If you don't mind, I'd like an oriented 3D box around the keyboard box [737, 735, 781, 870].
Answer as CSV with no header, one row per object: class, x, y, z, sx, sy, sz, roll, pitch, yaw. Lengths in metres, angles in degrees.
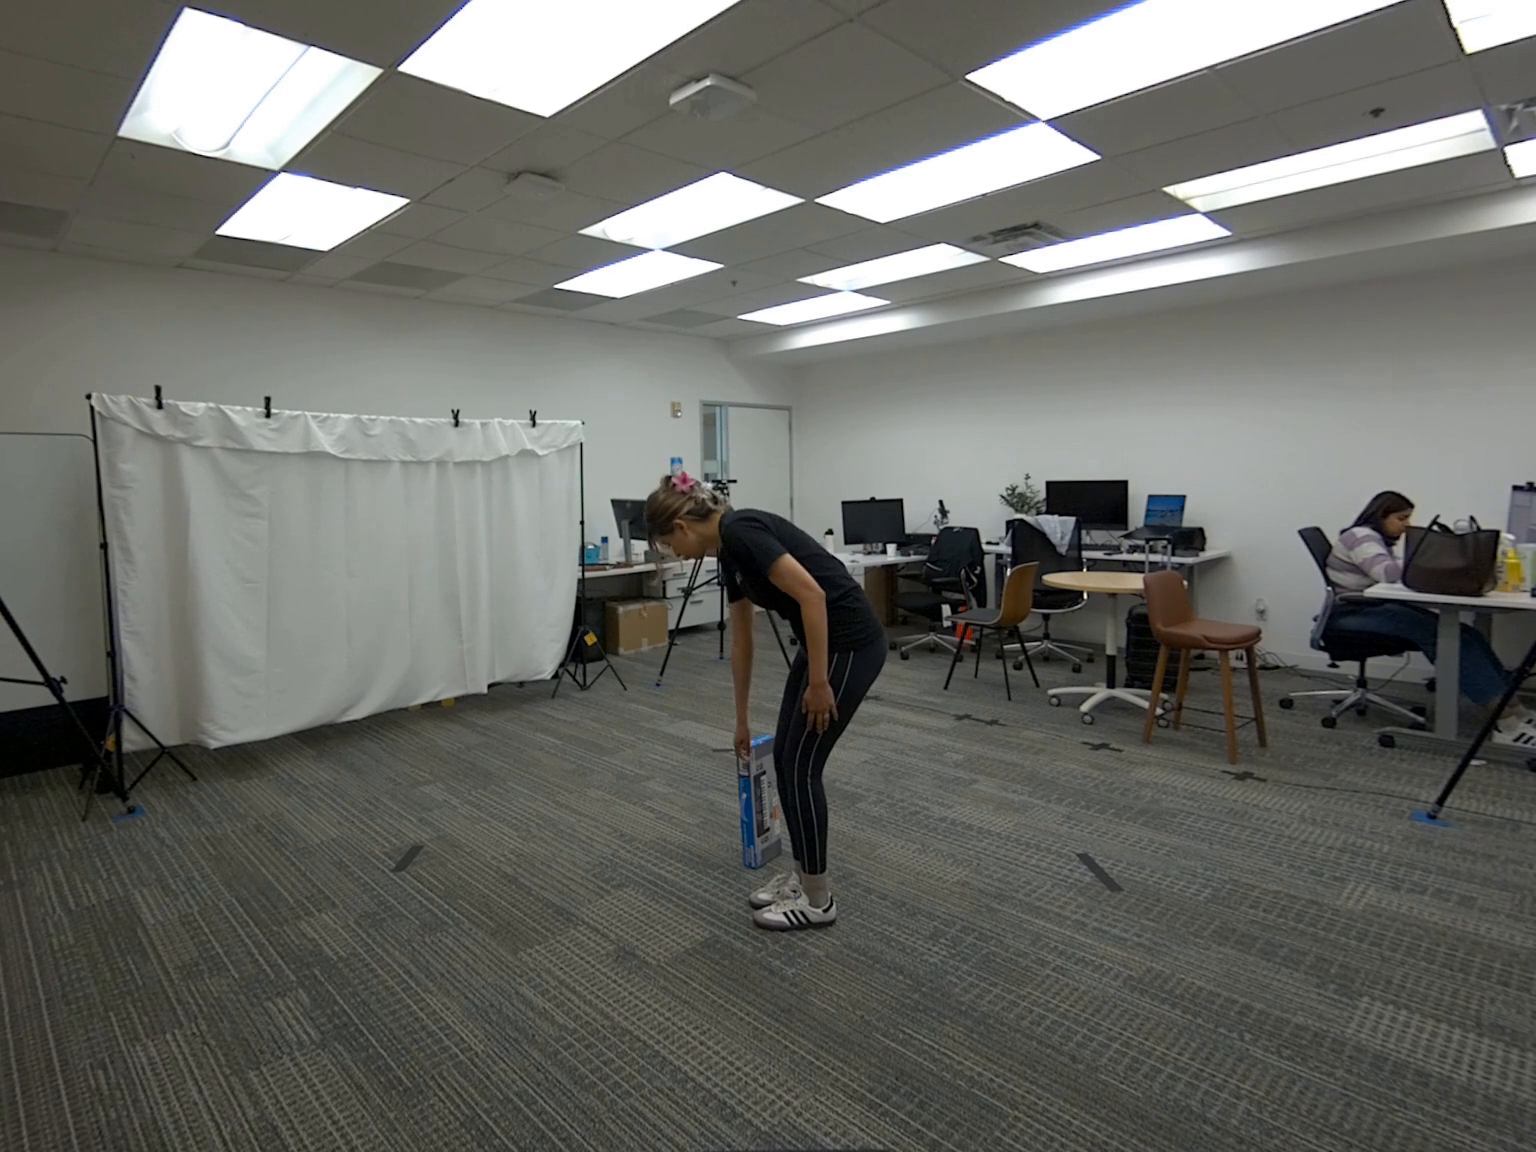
keyboard box,-0.028,0.825,3.139,0.060,0.436,0.172,-3,2,34
